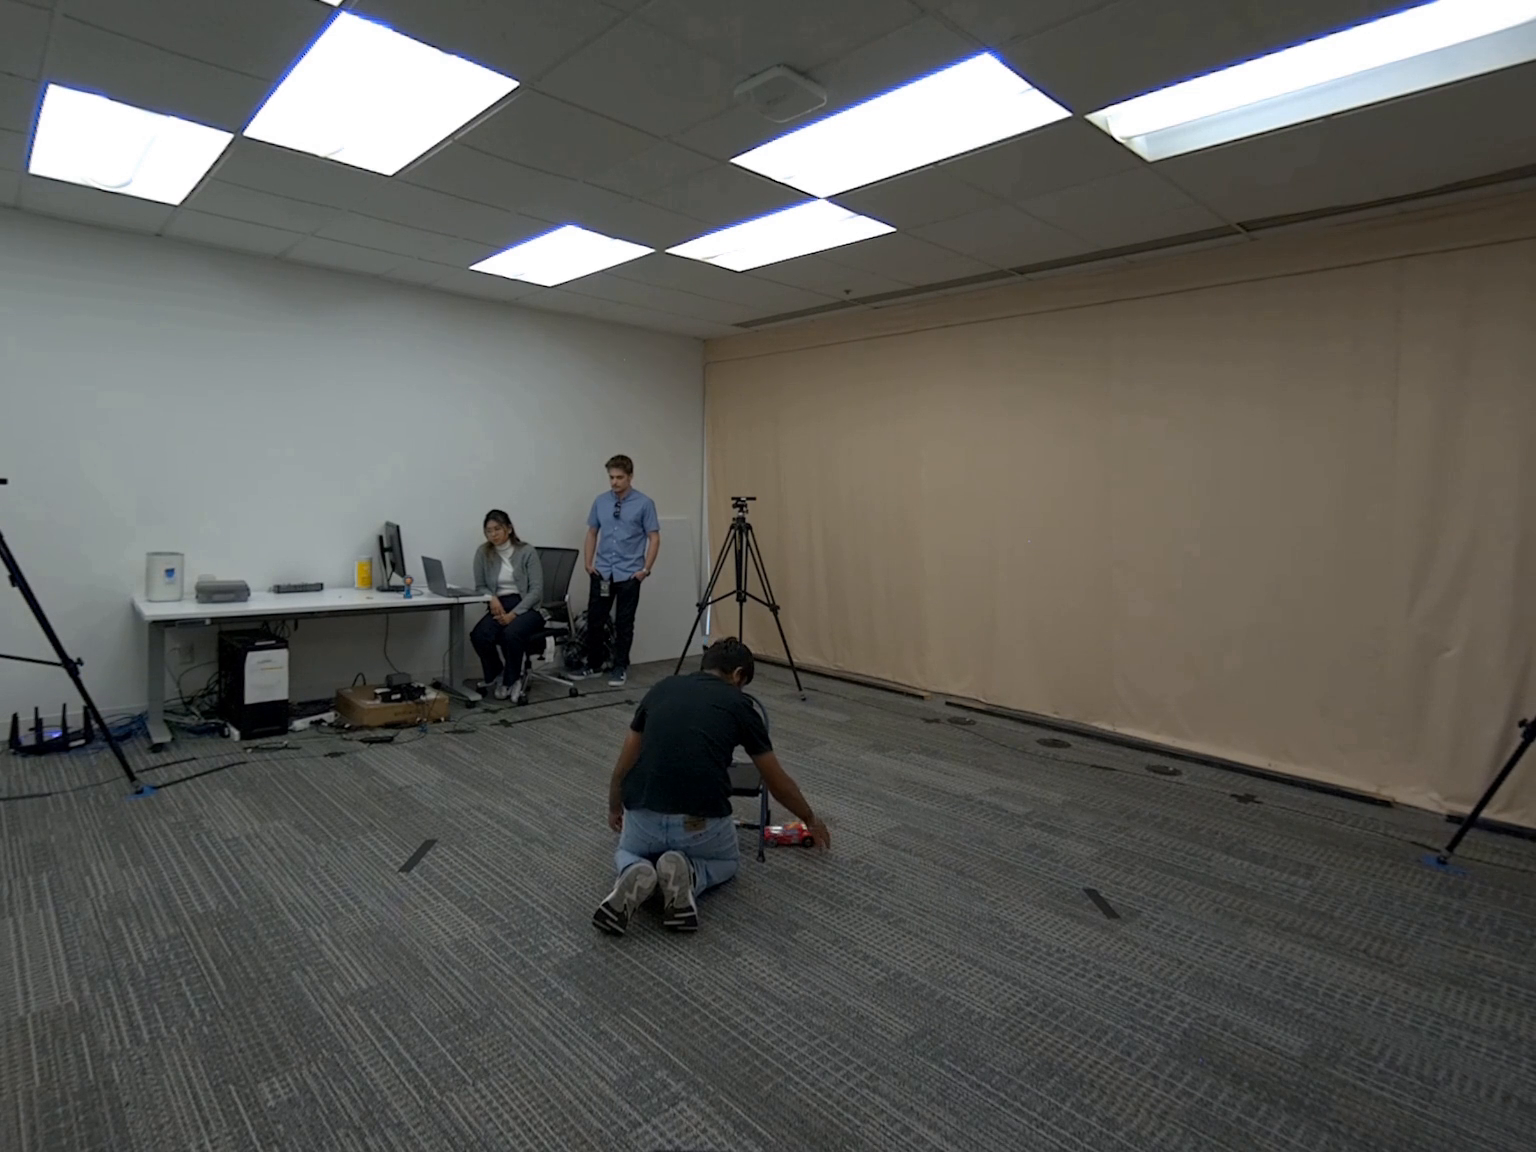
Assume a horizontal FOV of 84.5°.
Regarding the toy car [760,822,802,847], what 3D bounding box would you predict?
[{"bbox_3d":[-0.029,1.077,3.430,0.255,0.083,0.130,-12,0,4],"label":"toy car"}]
